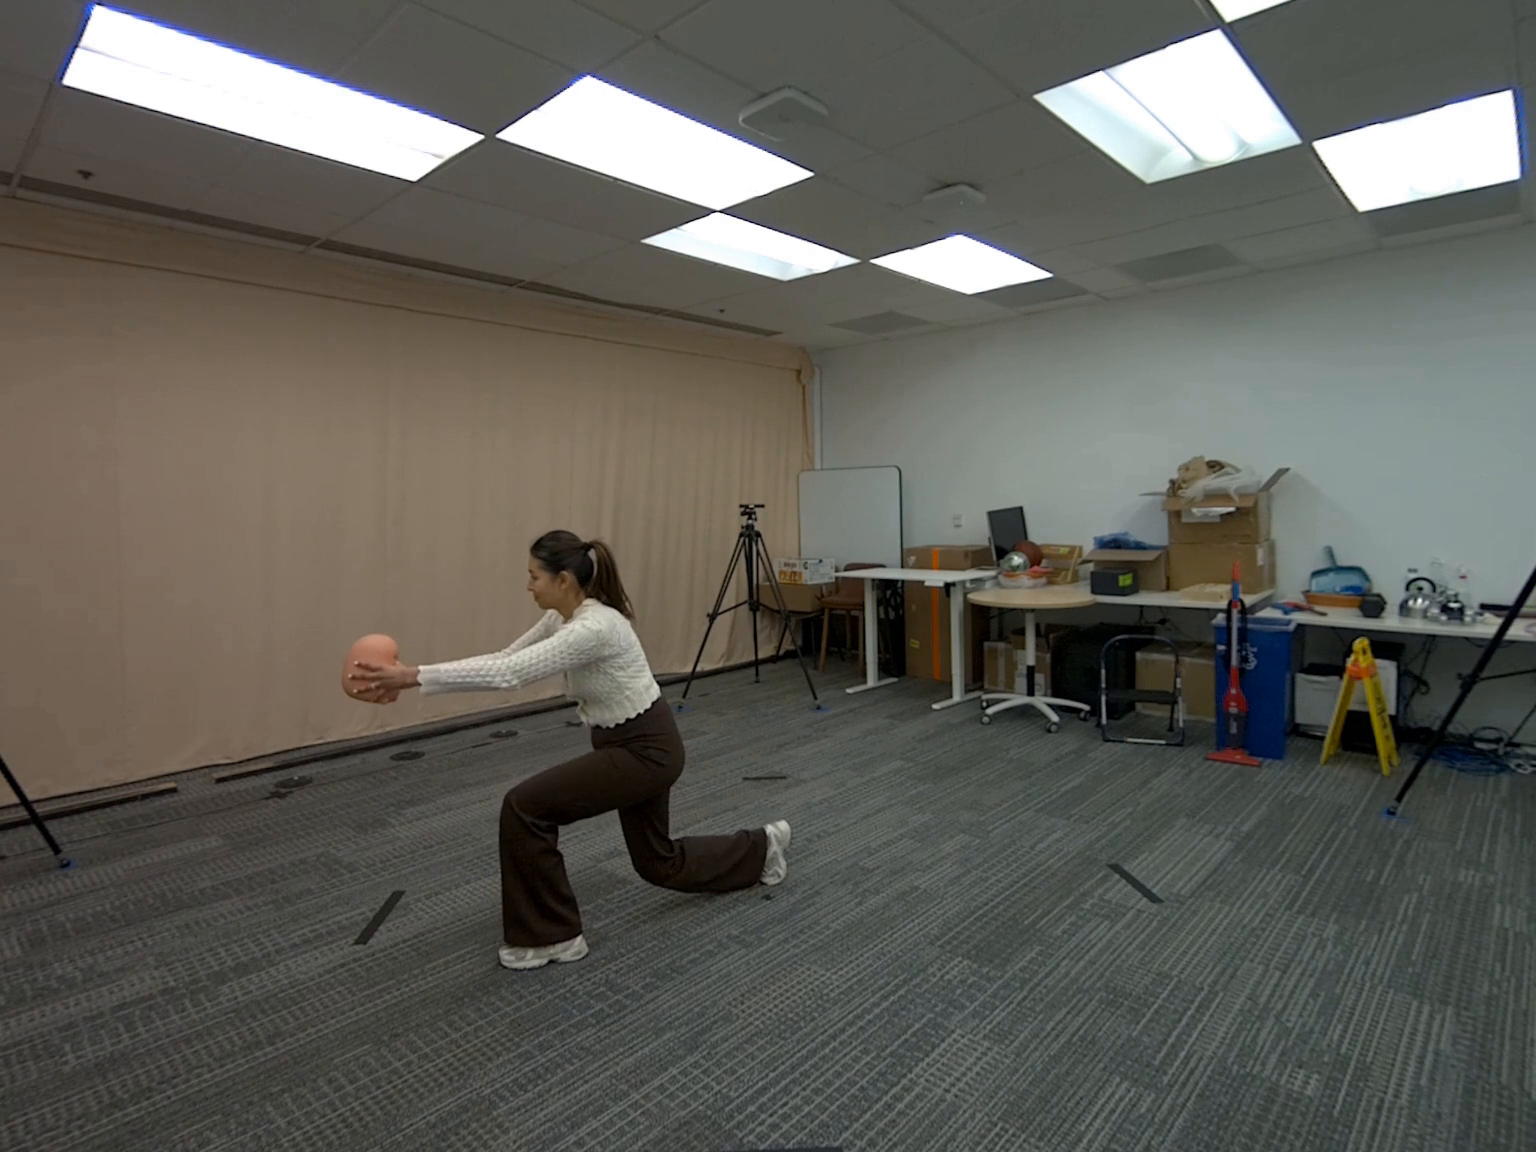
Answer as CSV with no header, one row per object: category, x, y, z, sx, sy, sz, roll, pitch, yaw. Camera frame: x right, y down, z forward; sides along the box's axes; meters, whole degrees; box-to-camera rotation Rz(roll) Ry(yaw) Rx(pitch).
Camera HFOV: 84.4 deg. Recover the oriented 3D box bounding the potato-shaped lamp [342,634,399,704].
potato-shaped lamp,-1.178,0.263,2.506,0.170,0.198,0.166,13,-4,-8
